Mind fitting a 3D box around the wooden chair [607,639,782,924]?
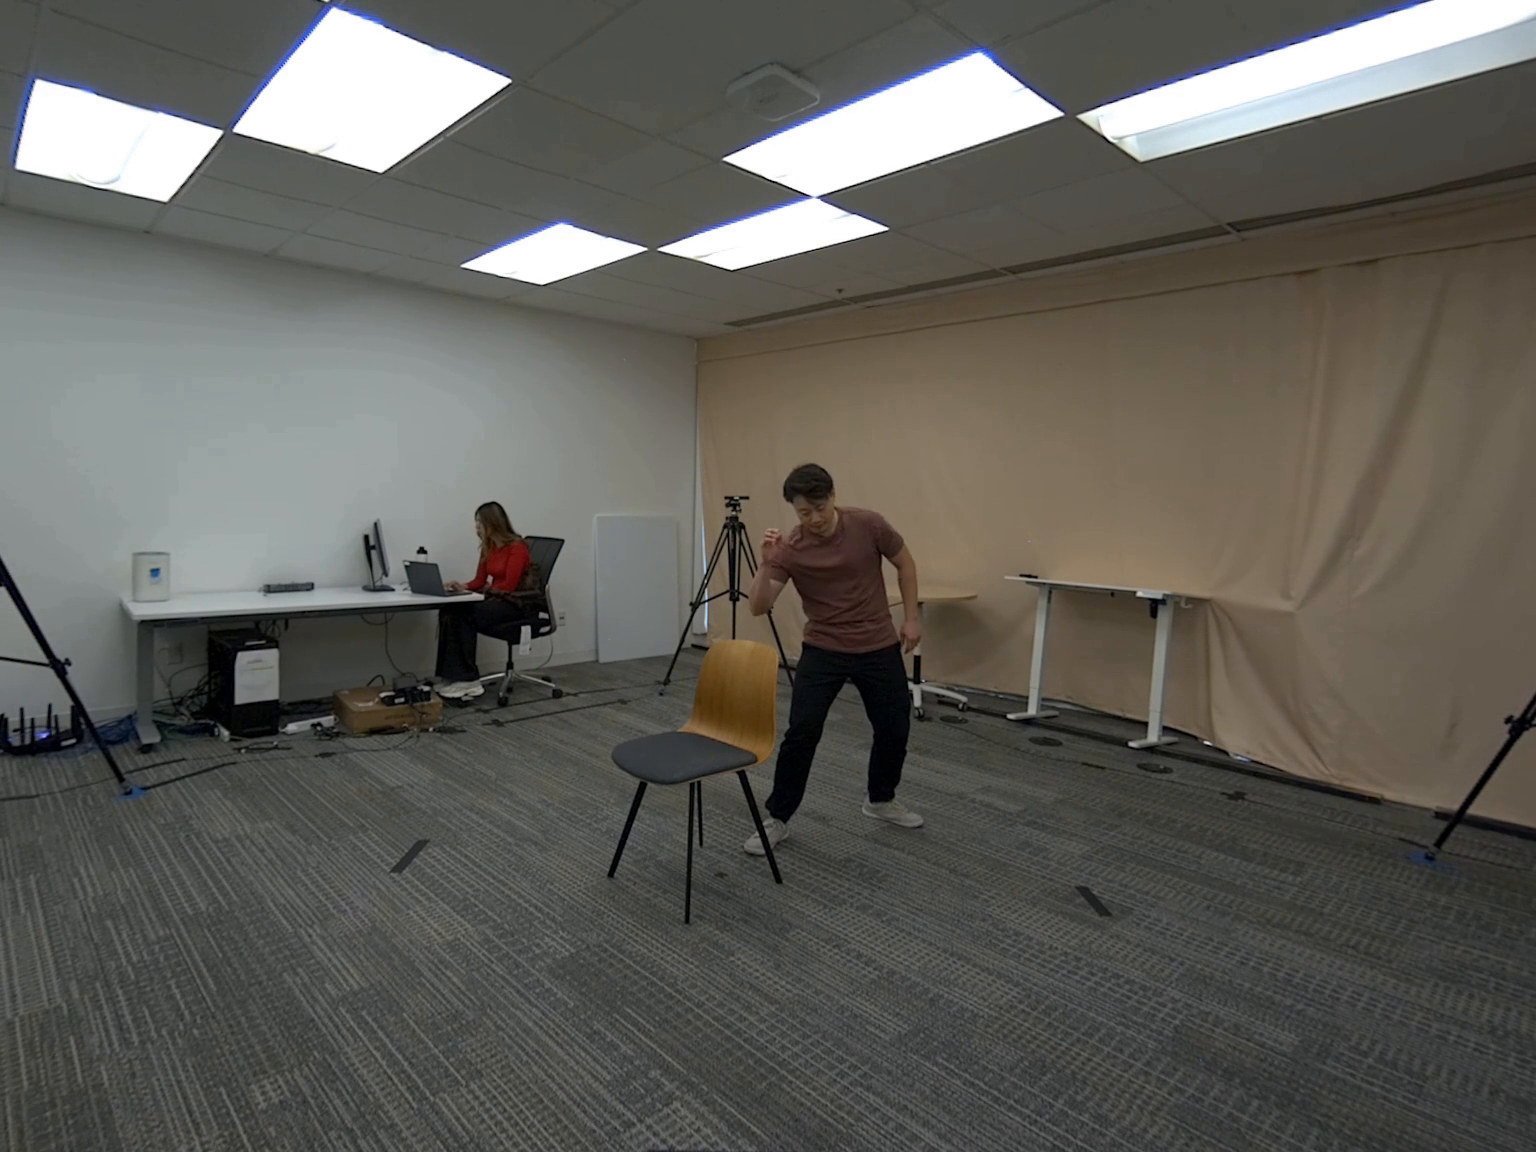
[{"bbox_3d":[-0.267,0.683,3.016,0.510,0.877,0.490,4,1,-44],"label":"wooden chair"}]
